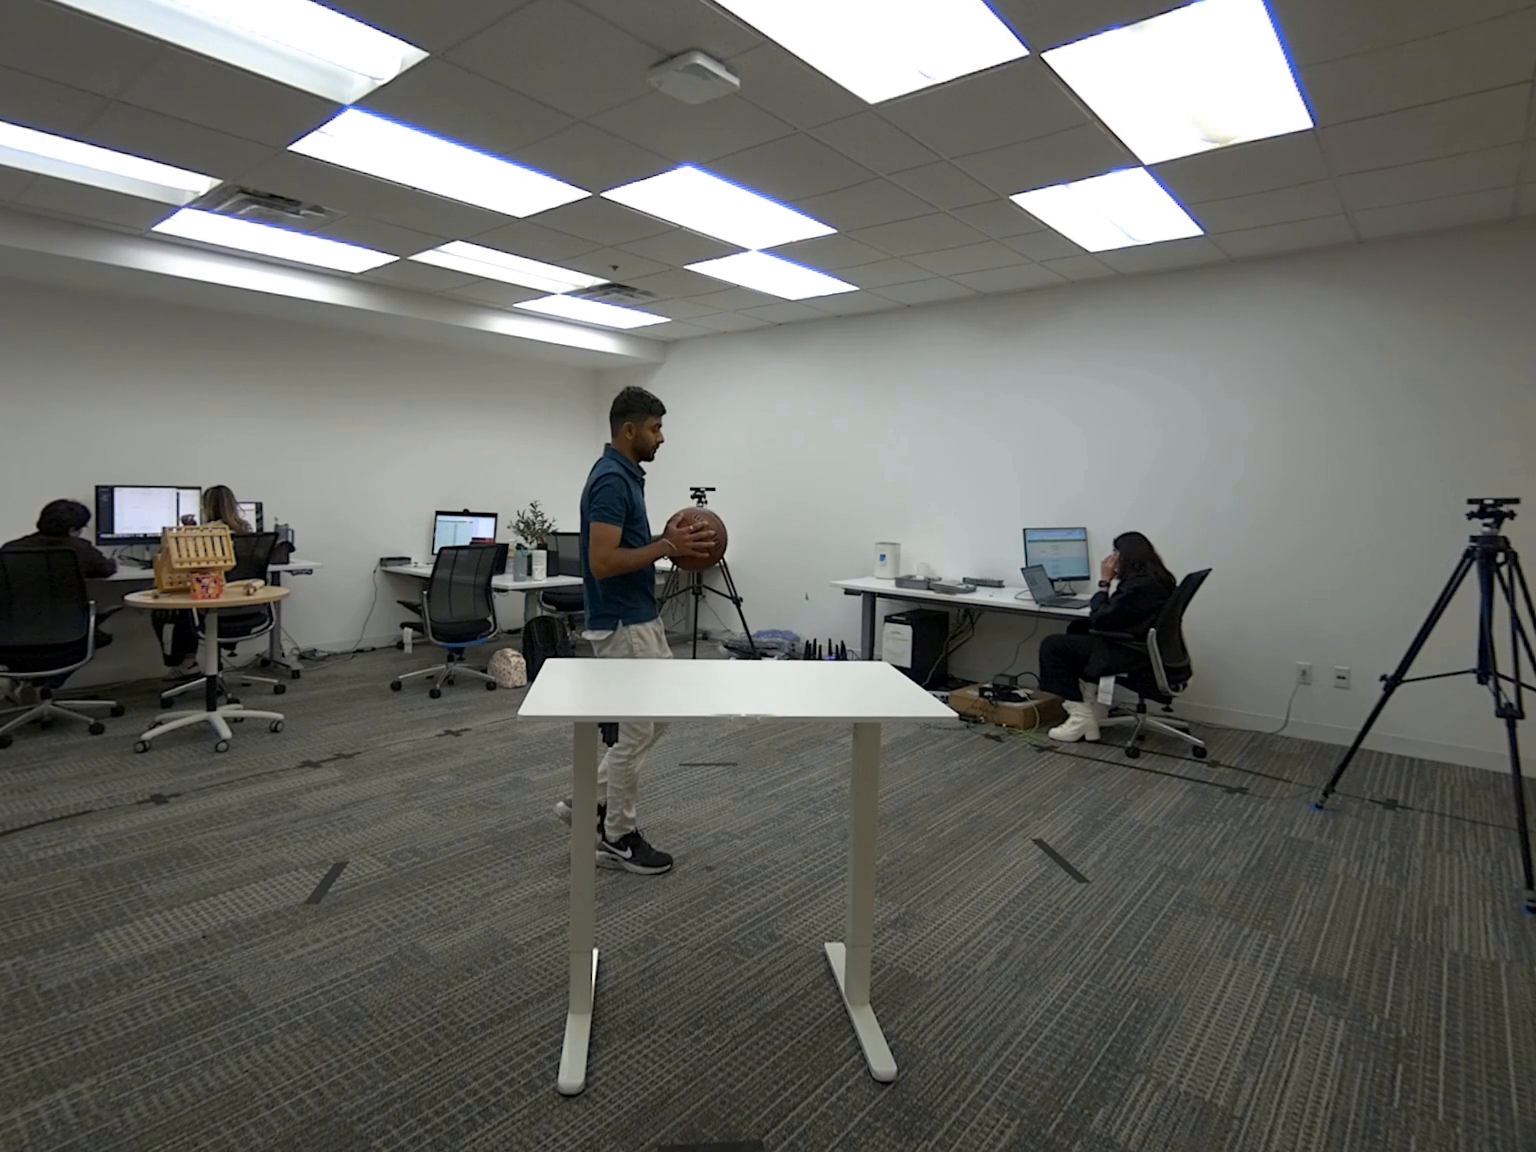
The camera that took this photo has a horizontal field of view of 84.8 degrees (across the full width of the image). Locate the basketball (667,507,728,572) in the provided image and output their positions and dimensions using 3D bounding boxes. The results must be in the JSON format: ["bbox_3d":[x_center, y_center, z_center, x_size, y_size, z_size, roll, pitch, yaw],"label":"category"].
[{"bbox_3d":[-0.275,-0.135,3.098,0.235,0.235,0.237,1,4,-2],"label":"basketball"}]
